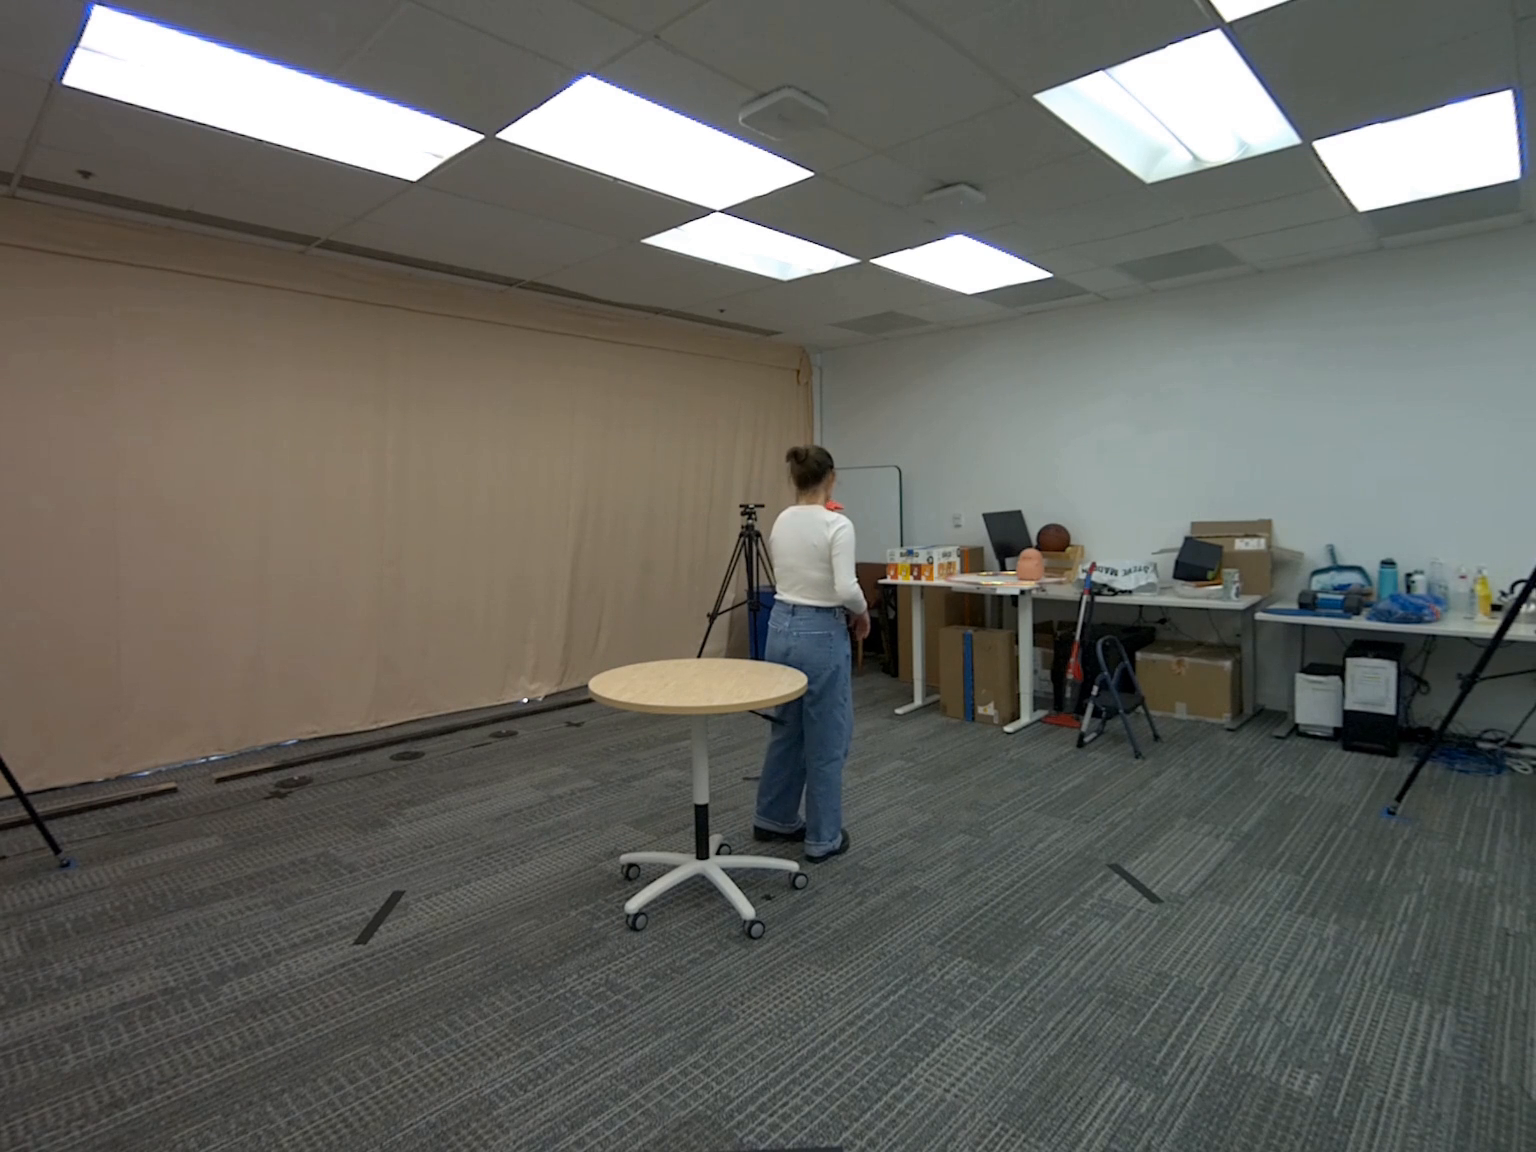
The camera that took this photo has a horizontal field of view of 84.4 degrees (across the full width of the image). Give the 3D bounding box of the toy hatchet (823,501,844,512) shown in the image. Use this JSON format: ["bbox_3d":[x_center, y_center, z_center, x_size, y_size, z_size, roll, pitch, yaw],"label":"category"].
[{"bbox_3d":[0.229,-0.227,3.616,0.132,0.270,0.029,23,-30,8],"label":"toy hatchet"}]
